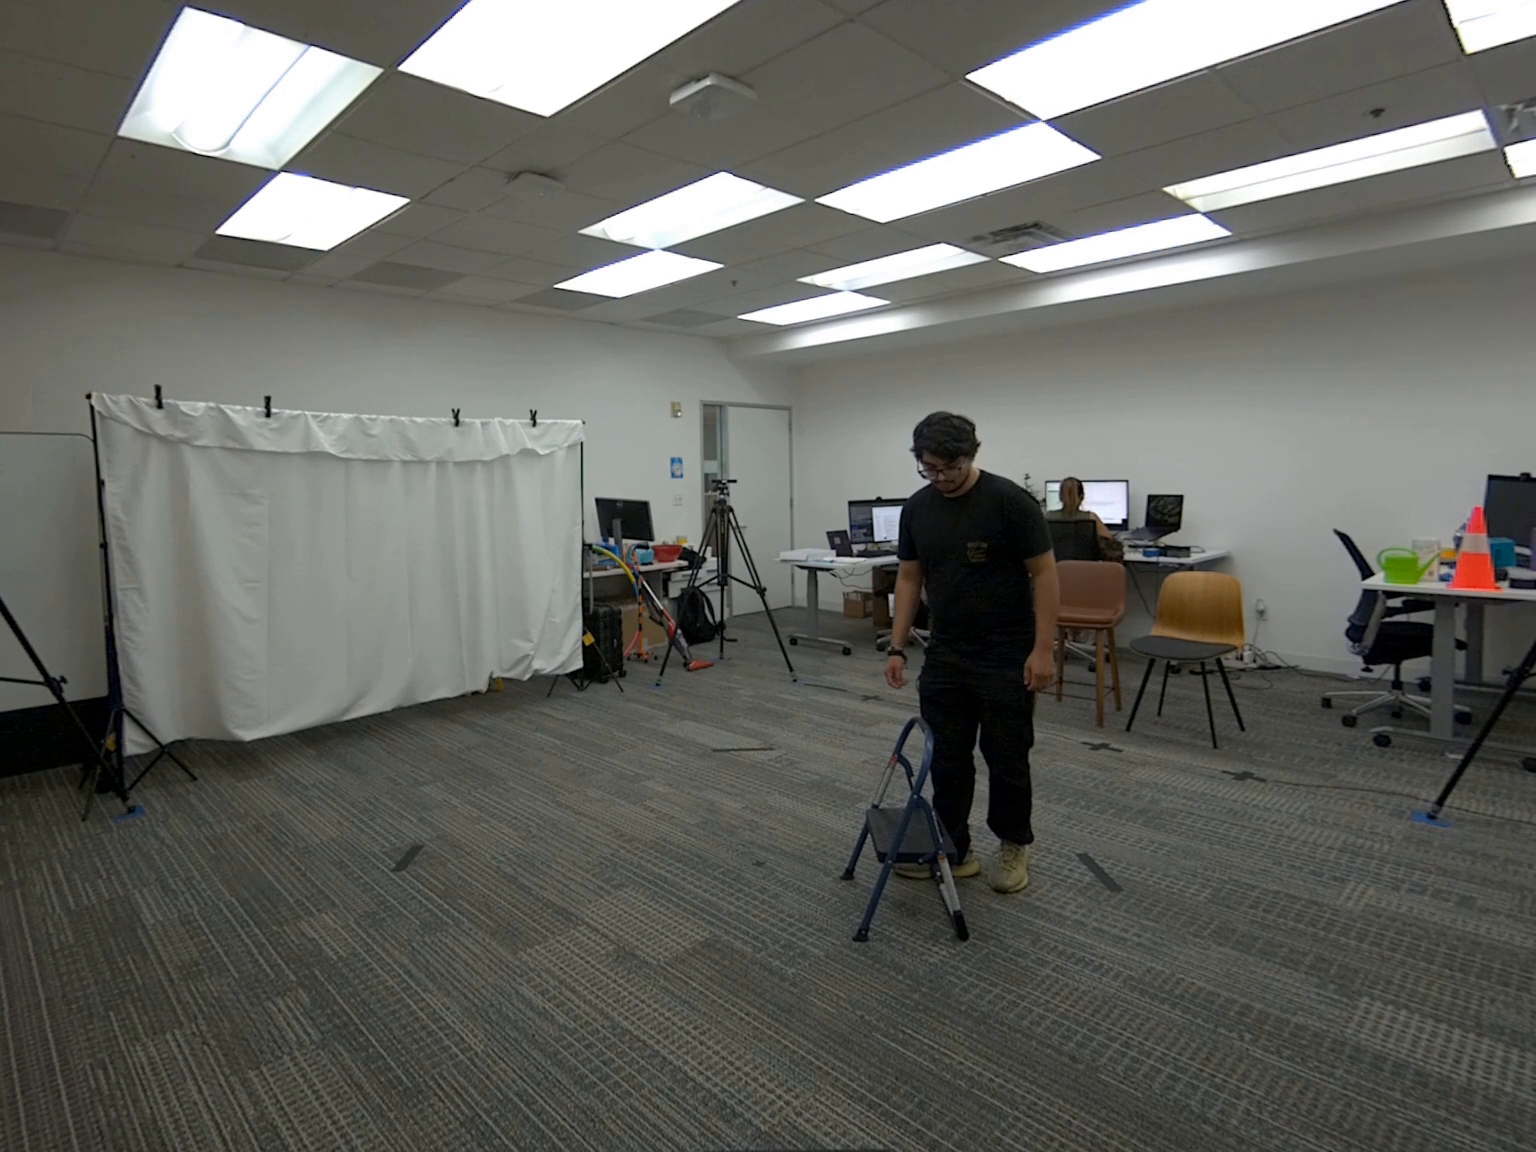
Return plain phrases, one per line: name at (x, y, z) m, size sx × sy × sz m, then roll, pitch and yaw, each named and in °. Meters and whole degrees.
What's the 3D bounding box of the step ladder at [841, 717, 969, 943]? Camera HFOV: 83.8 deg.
step ladder at (0.430, 0.778, 2.754) m, size 0.349 × 0.604 × 0.432 m, roll -2°, pitch 4°, yaw 0°
